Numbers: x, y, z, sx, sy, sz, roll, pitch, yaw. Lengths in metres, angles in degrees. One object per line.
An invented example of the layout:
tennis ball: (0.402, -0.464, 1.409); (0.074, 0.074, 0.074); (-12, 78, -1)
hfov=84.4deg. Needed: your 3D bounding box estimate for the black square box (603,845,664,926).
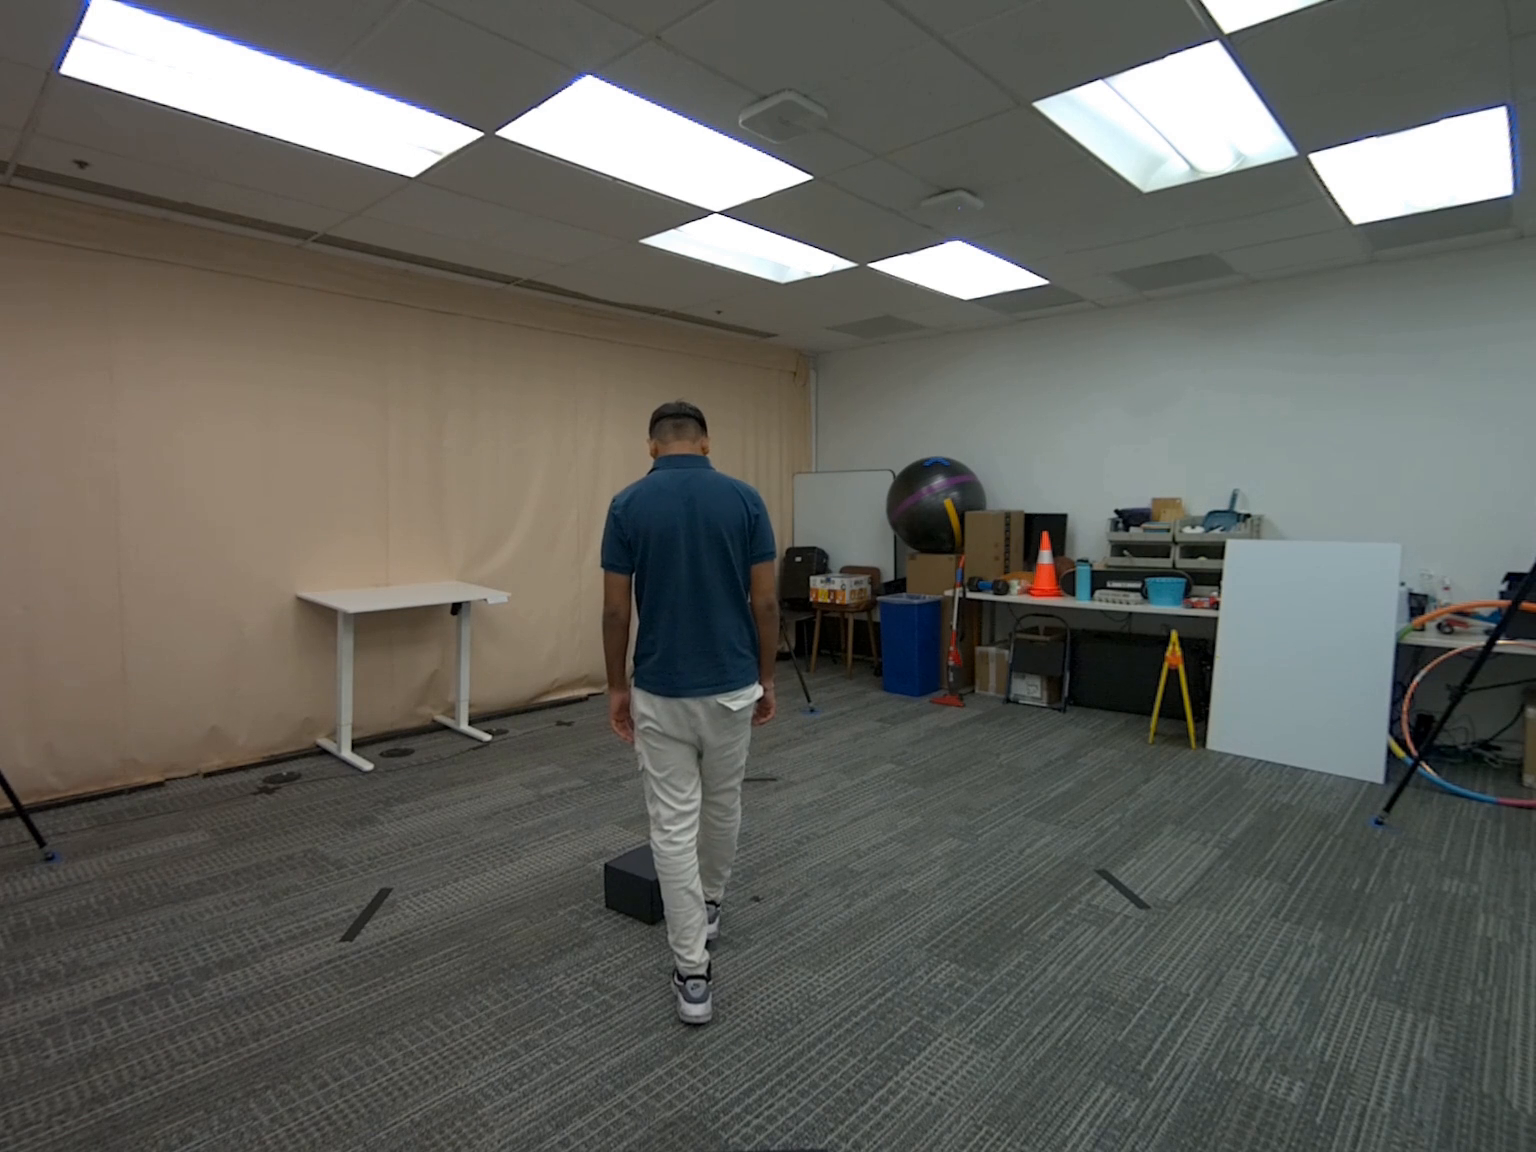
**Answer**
black square box: (-0.410, 1.066, 2.934); (0.235, 0.155, 0.210); (2, 4, 37)
